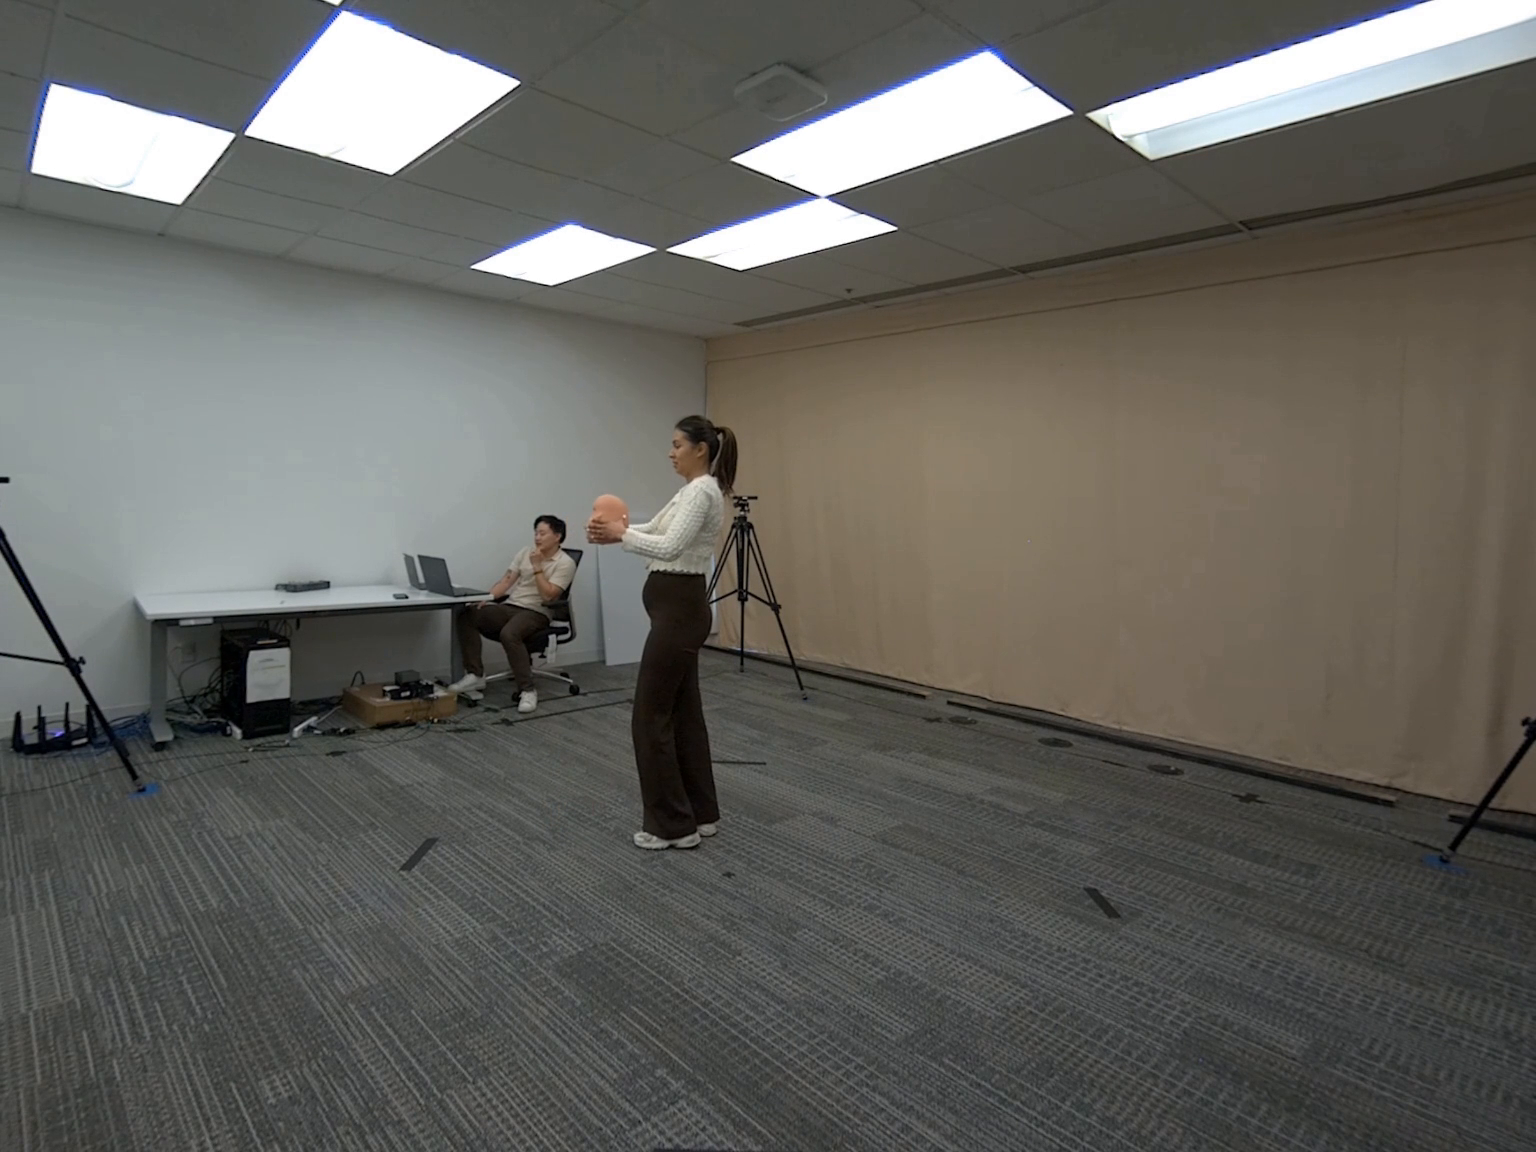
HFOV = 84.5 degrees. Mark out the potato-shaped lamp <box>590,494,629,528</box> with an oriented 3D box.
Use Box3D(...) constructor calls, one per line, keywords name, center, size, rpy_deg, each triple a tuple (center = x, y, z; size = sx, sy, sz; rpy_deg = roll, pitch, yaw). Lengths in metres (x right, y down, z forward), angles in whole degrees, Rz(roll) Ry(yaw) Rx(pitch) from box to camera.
Box3D(name="potato-shaped lamp", center=(-0.648, -0.227, 3.370), size=(0.169, 0.198, 0.167), rpy_deg=(-5, 3, -21))
